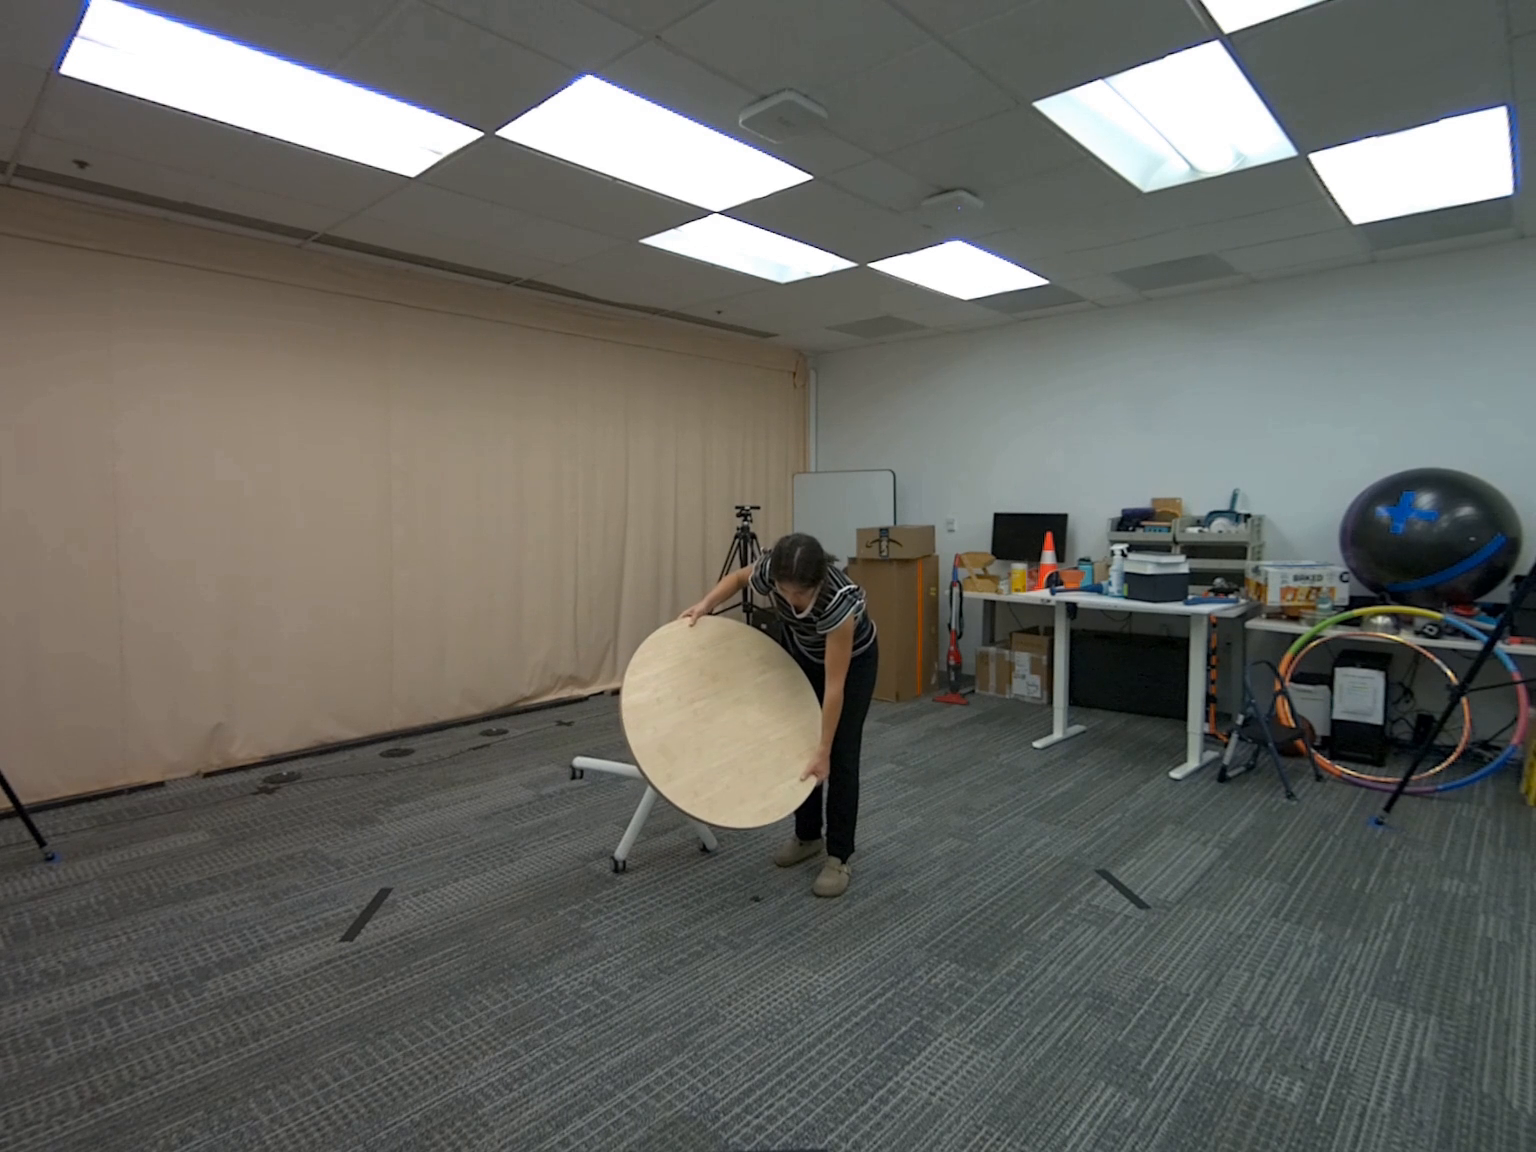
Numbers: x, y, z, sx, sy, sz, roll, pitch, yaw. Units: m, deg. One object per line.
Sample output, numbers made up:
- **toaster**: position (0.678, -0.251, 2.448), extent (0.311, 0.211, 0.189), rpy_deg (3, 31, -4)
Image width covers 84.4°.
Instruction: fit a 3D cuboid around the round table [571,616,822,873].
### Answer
- **round table**: position (-0.312, 0.675, 3.180), extent (0.743, 0.781, 0.798), rpy_deg (-2, -30, -31)
